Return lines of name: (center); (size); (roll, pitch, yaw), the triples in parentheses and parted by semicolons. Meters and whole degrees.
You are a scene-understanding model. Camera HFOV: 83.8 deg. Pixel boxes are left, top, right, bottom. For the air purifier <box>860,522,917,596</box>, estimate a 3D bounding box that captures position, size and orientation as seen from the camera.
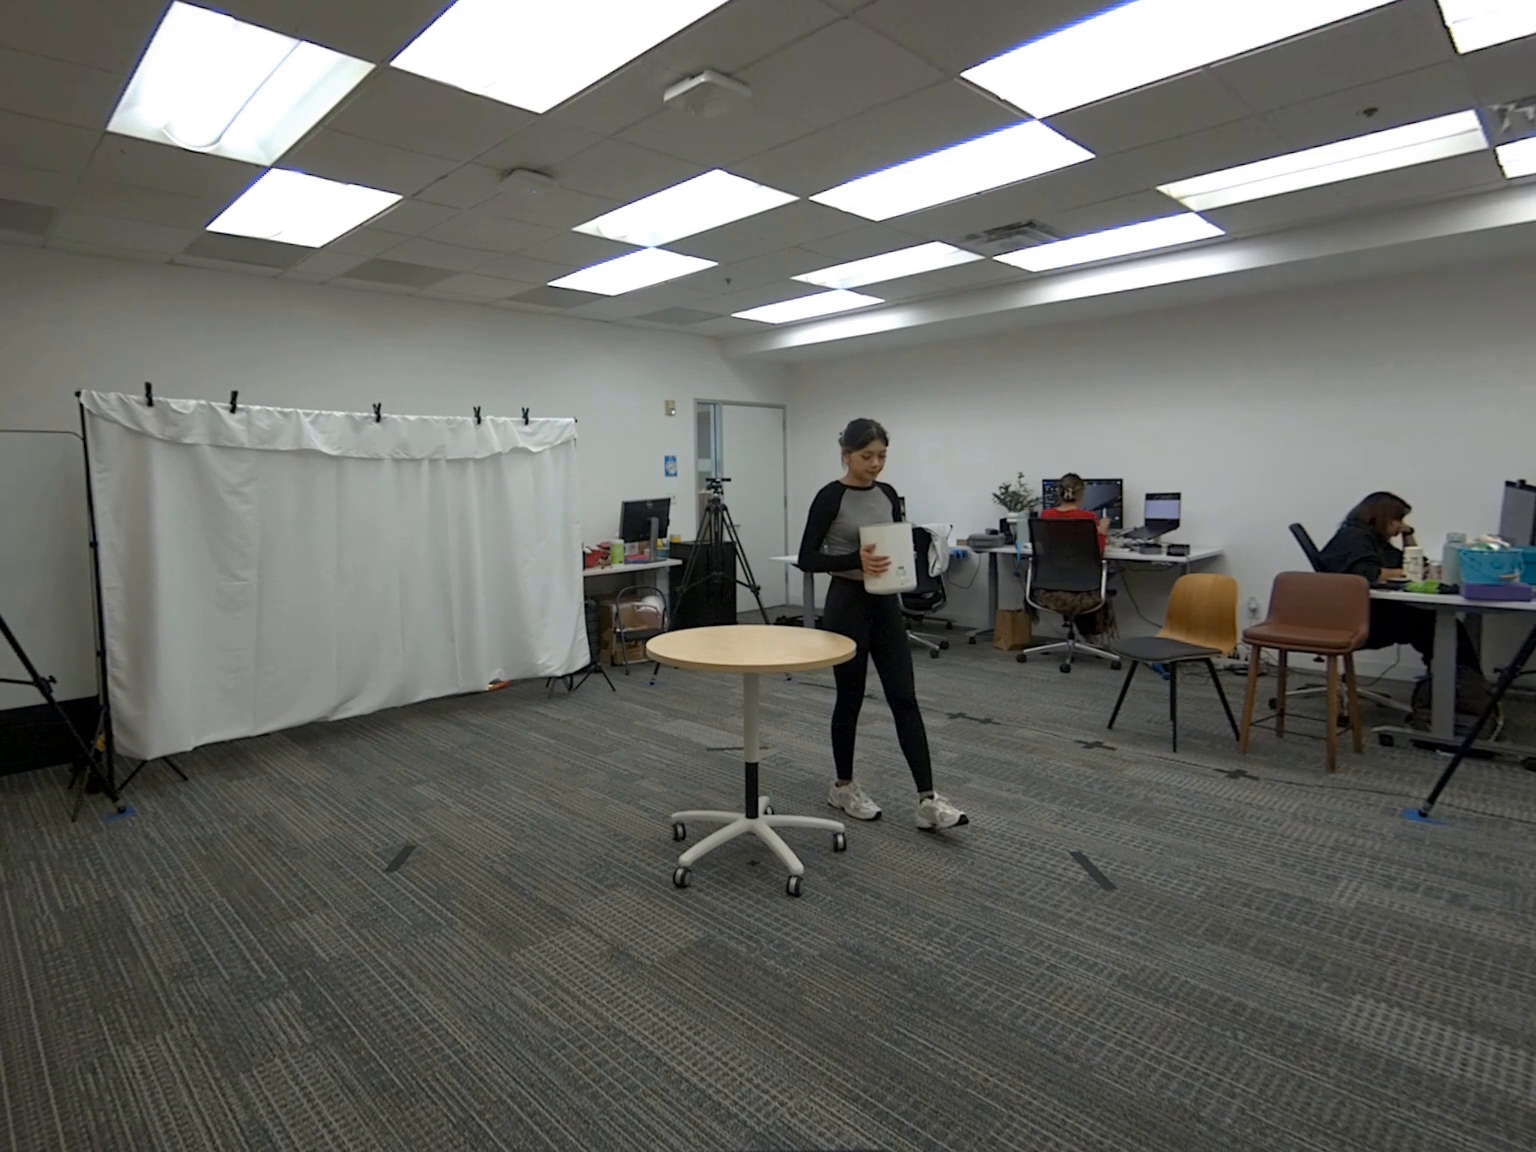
air purifier: (0.455, -0.065, 3.289); (0.168, 0.265, 0.174); (-6, 0, -22)
